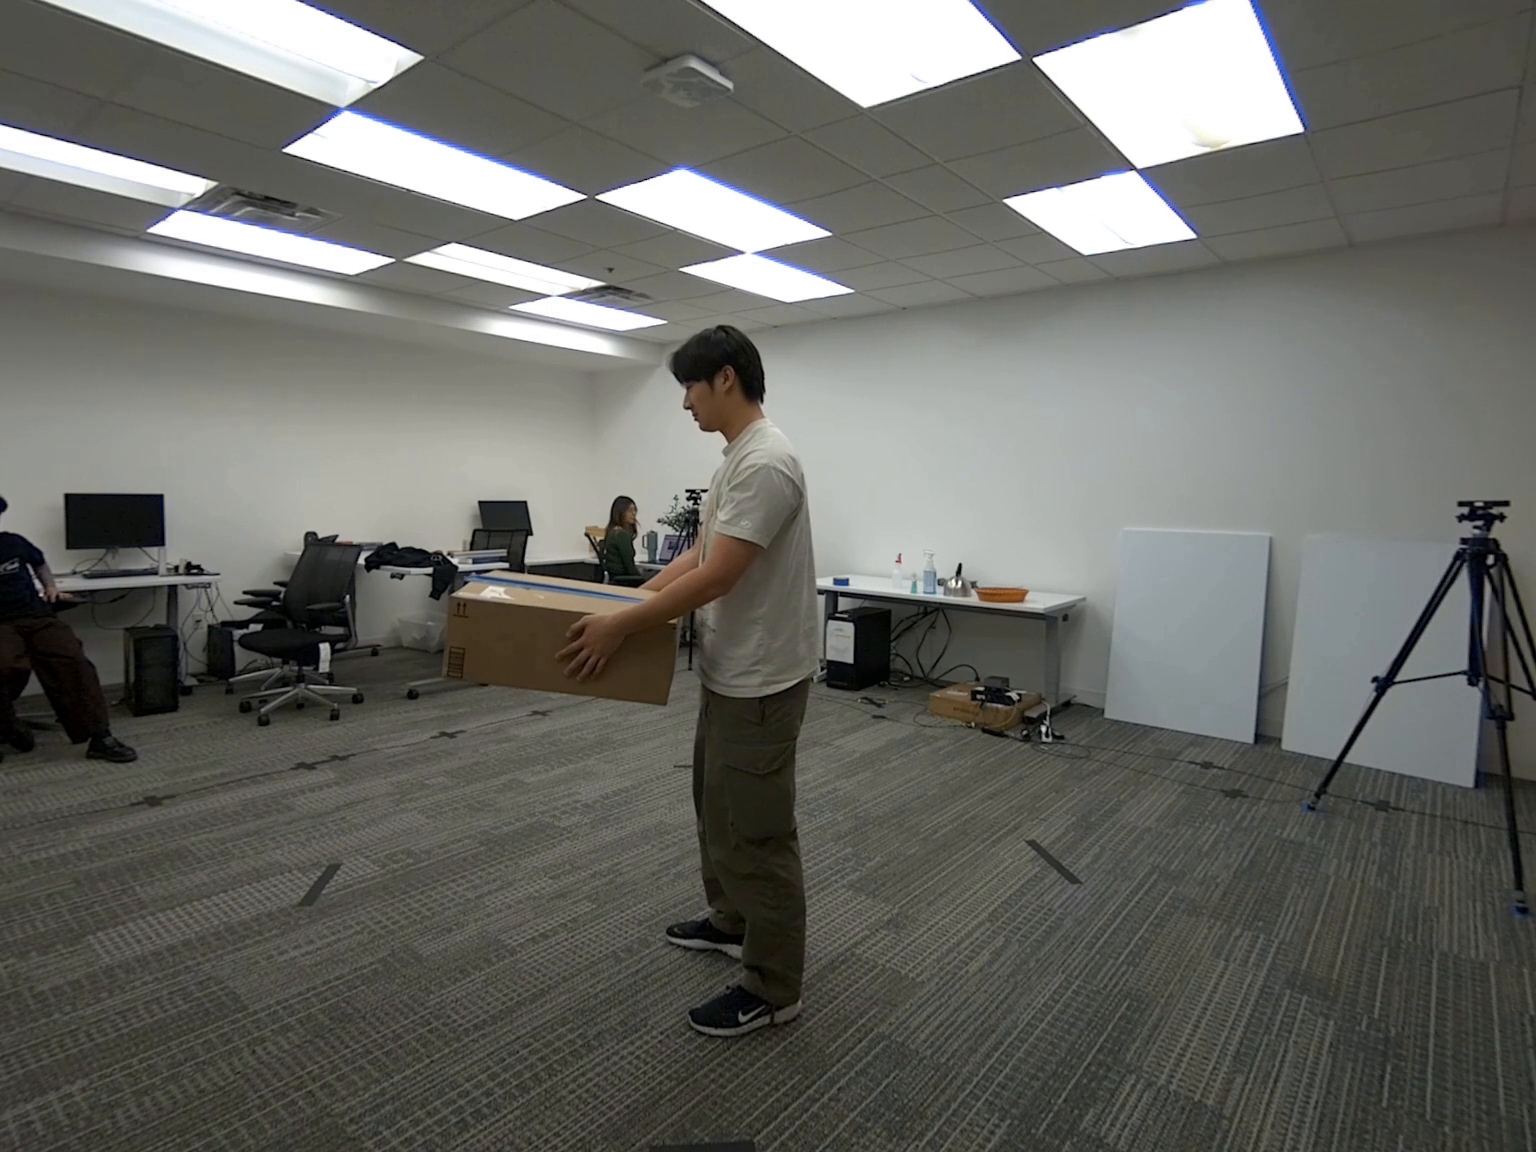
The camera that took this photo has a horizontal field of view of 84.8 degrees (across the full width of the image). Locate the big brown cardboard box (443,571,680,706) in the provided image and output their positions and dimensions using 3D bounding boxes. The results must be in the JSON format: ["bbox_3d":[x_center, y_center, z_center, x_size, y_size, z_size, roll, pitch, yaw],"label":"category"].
[{"bbox_3d":[-0.547,0.149,2.306,0.589,0.232,0.420,8,8,-1],"label":"big brown cardboard box"}]
